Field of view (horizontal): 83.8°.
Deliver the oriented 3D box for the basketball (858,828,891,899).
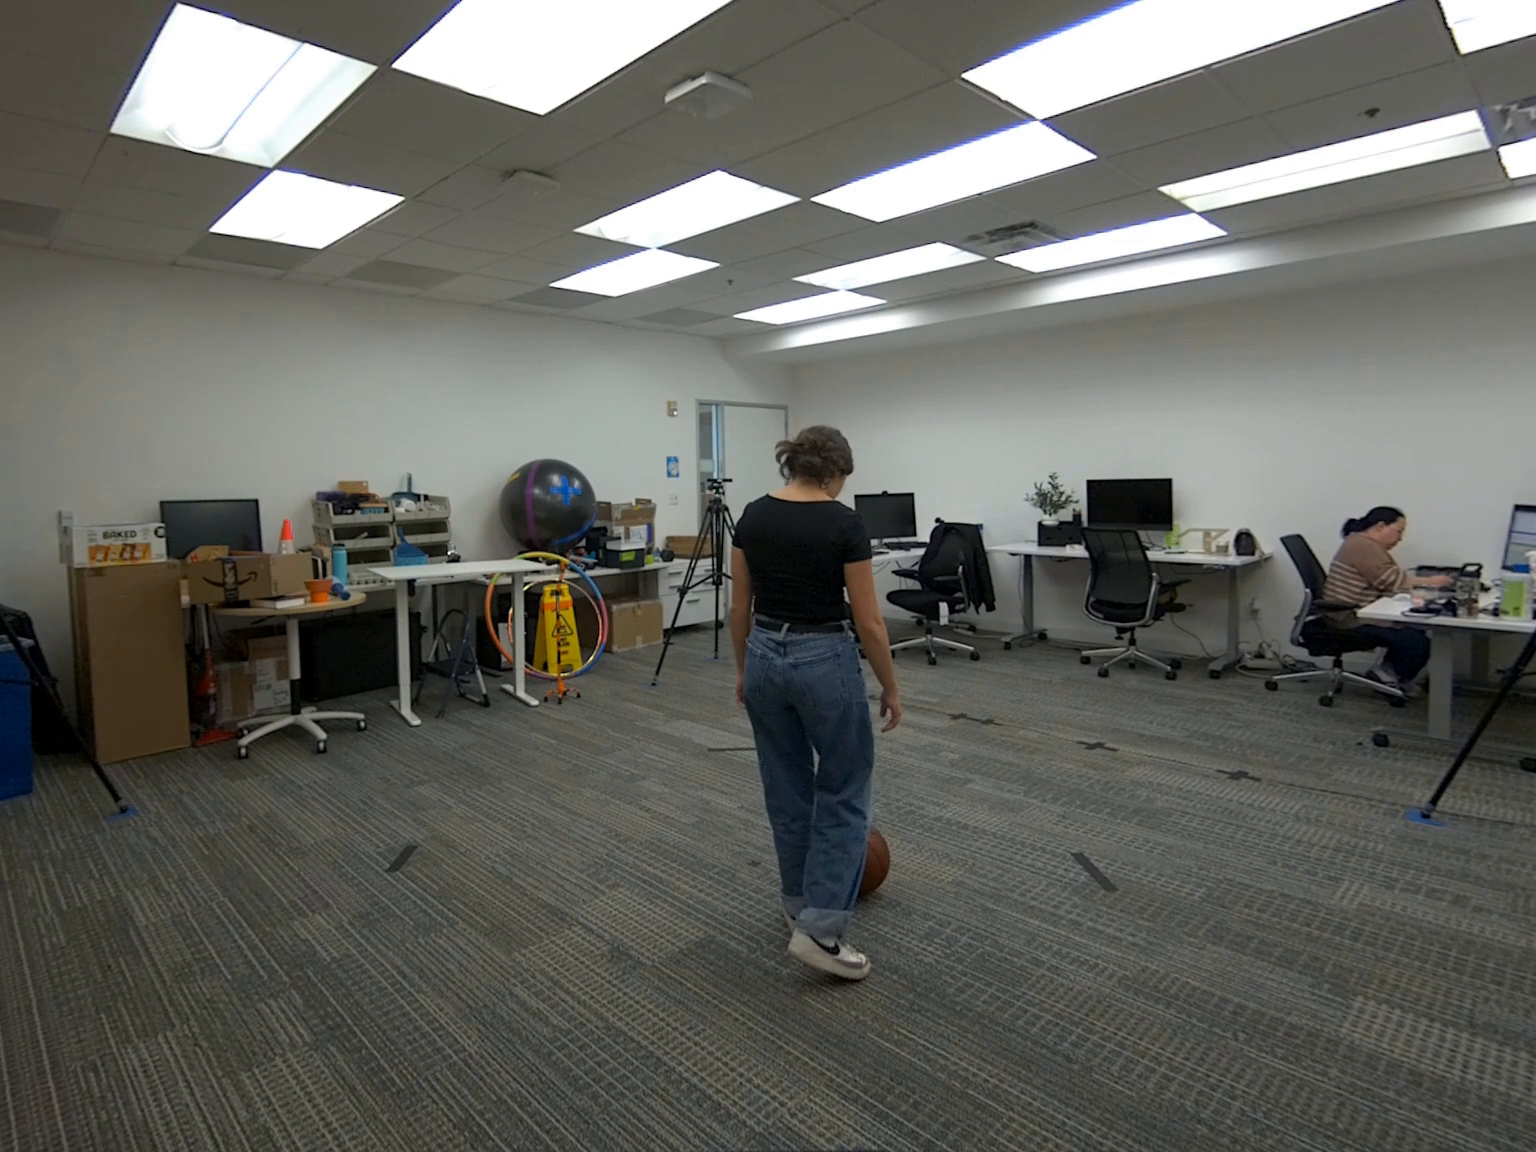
[{"bbox_3d":[0.298,0.944,2.871,0.236,0.235,0.237,-1,5,-2],"label":"basketball"}]
